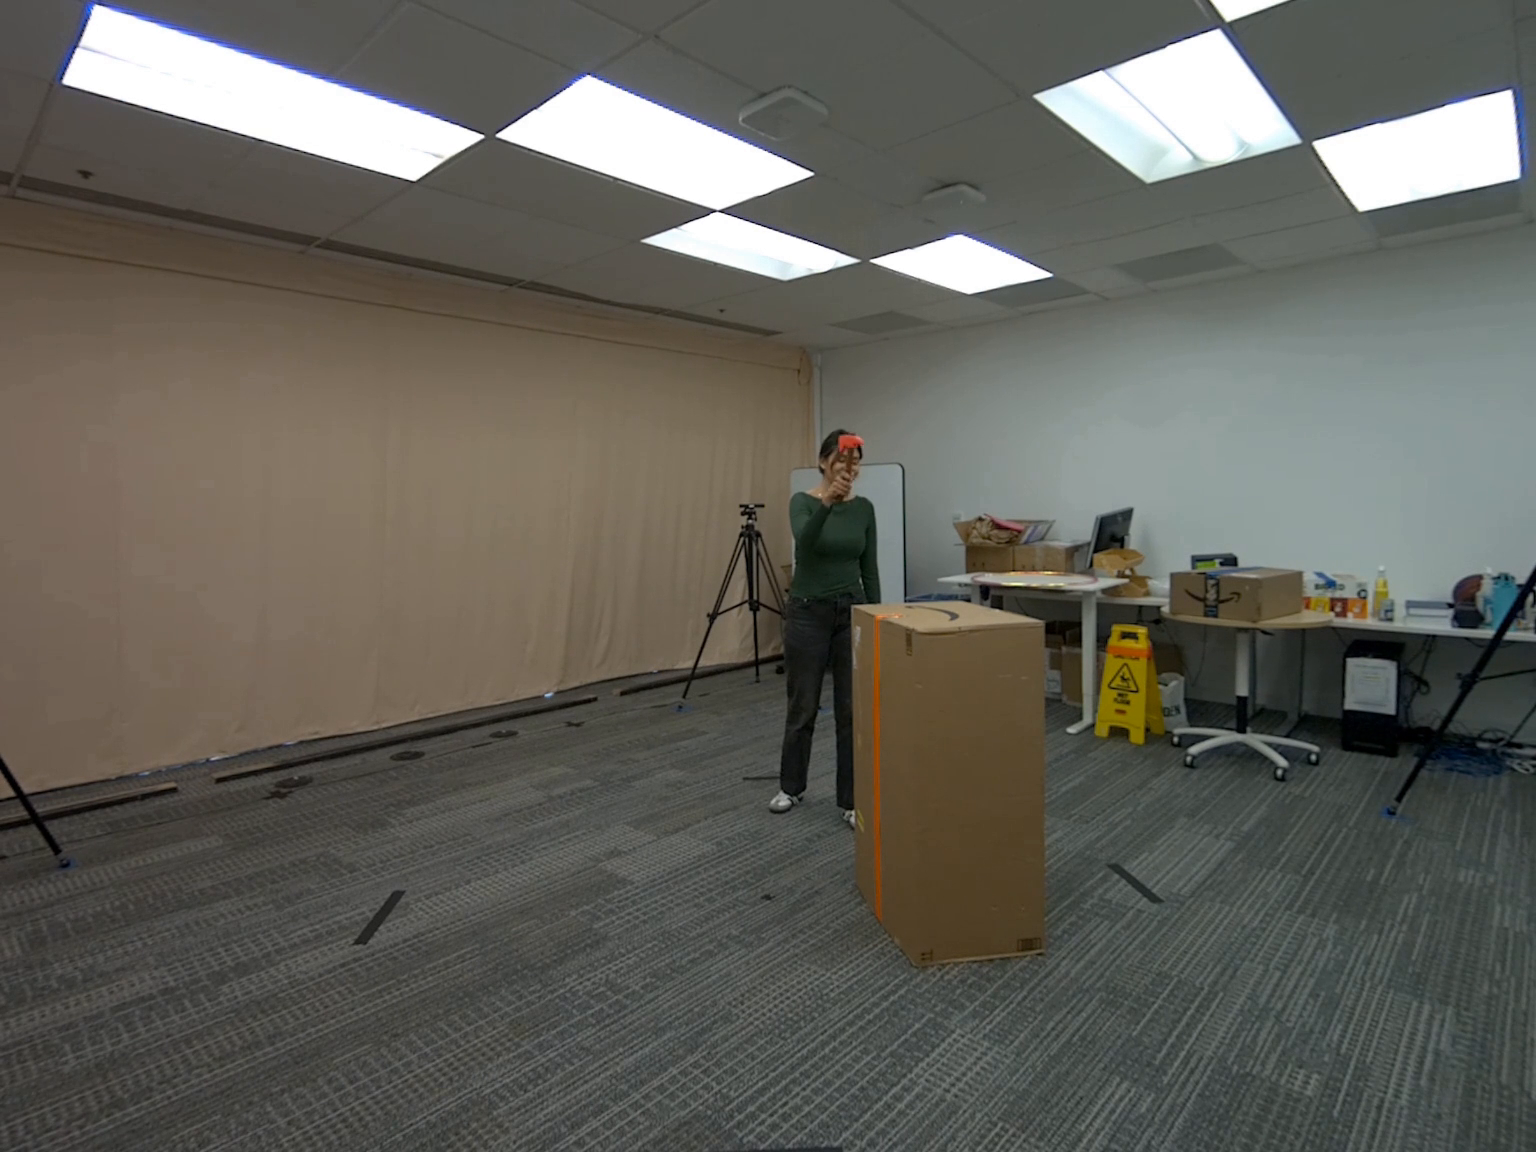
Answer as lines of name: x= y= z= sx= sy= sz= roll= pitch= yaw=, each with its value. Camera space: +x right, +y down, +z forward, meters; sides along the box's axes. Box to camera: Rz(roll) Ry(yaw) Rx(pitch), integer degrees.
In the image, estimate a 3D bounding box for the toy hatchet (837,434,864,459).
toy hatchet: x=0.281 y=-0.397 z=3.159 sx=0.029 sy=0.267 sz=0.136 roll=-8 pitch=38 yaw=-31
